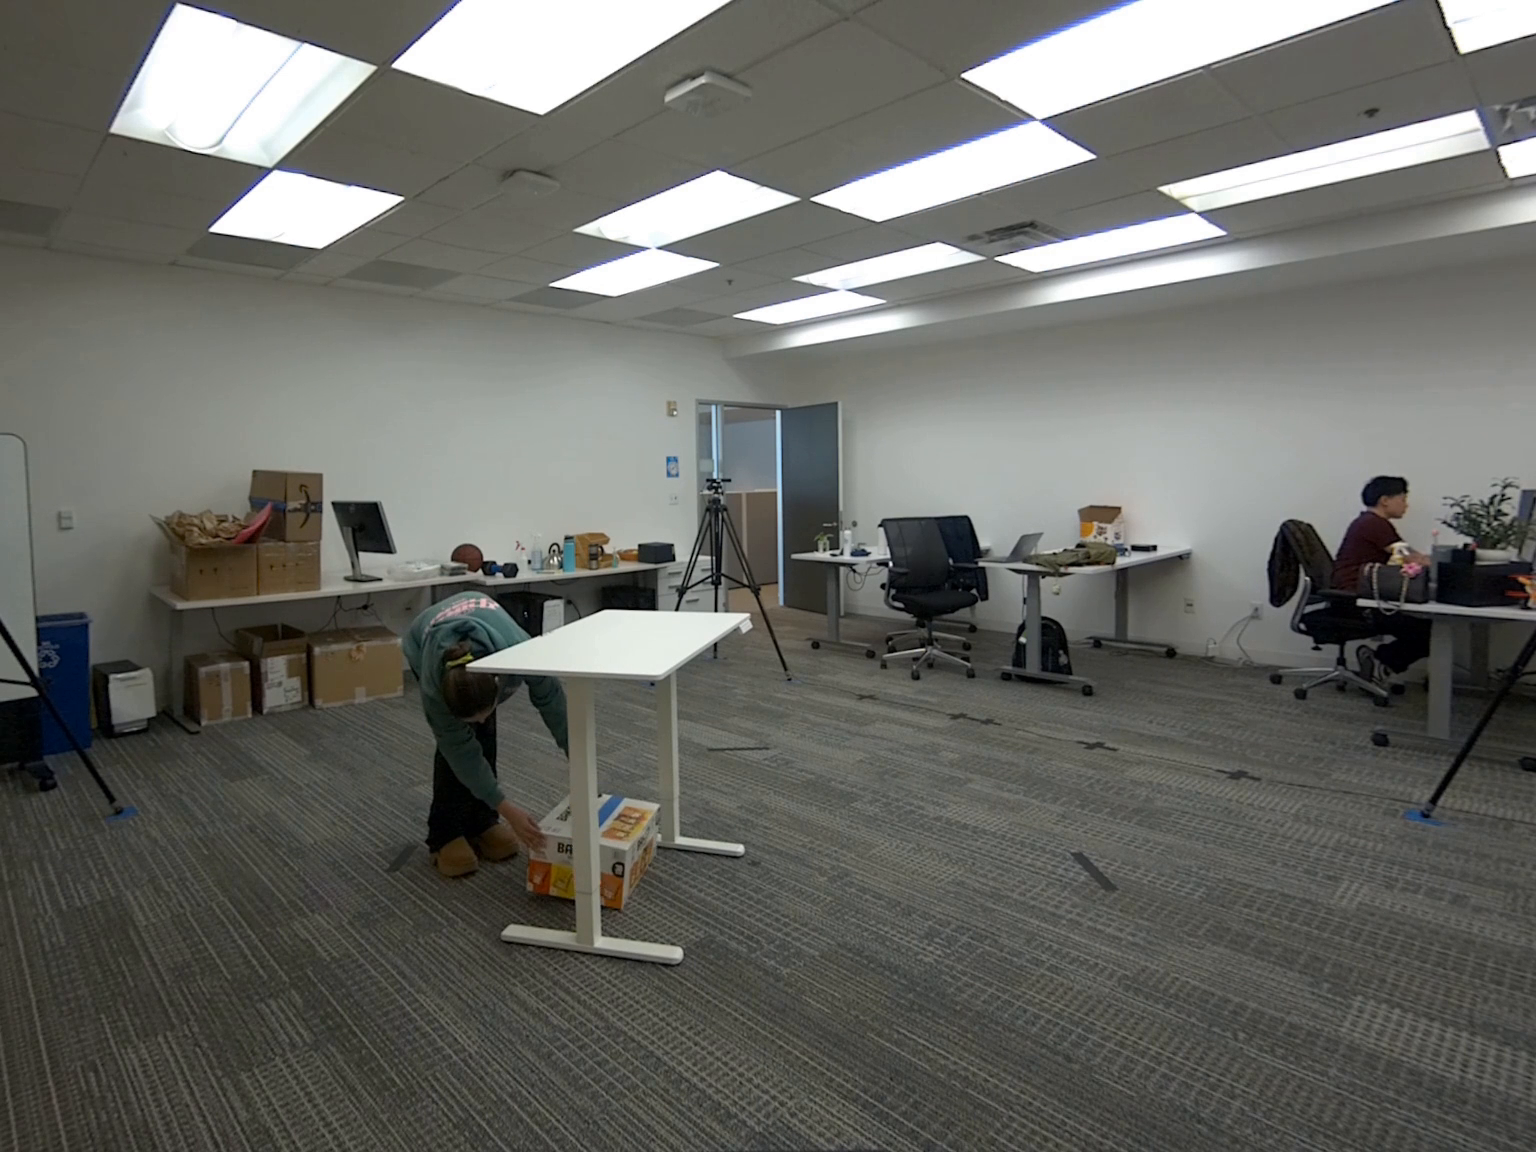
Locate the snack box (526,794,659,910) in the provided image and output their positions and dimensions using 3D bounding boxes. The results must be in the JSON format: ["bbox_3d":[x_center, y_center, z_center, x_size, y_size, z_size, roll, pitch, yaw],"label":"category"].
[{"bbox_3d":[-0.607,0.945,3.001,0.344,0.205,0.403,5,7,9],"label":"snack box"}]
